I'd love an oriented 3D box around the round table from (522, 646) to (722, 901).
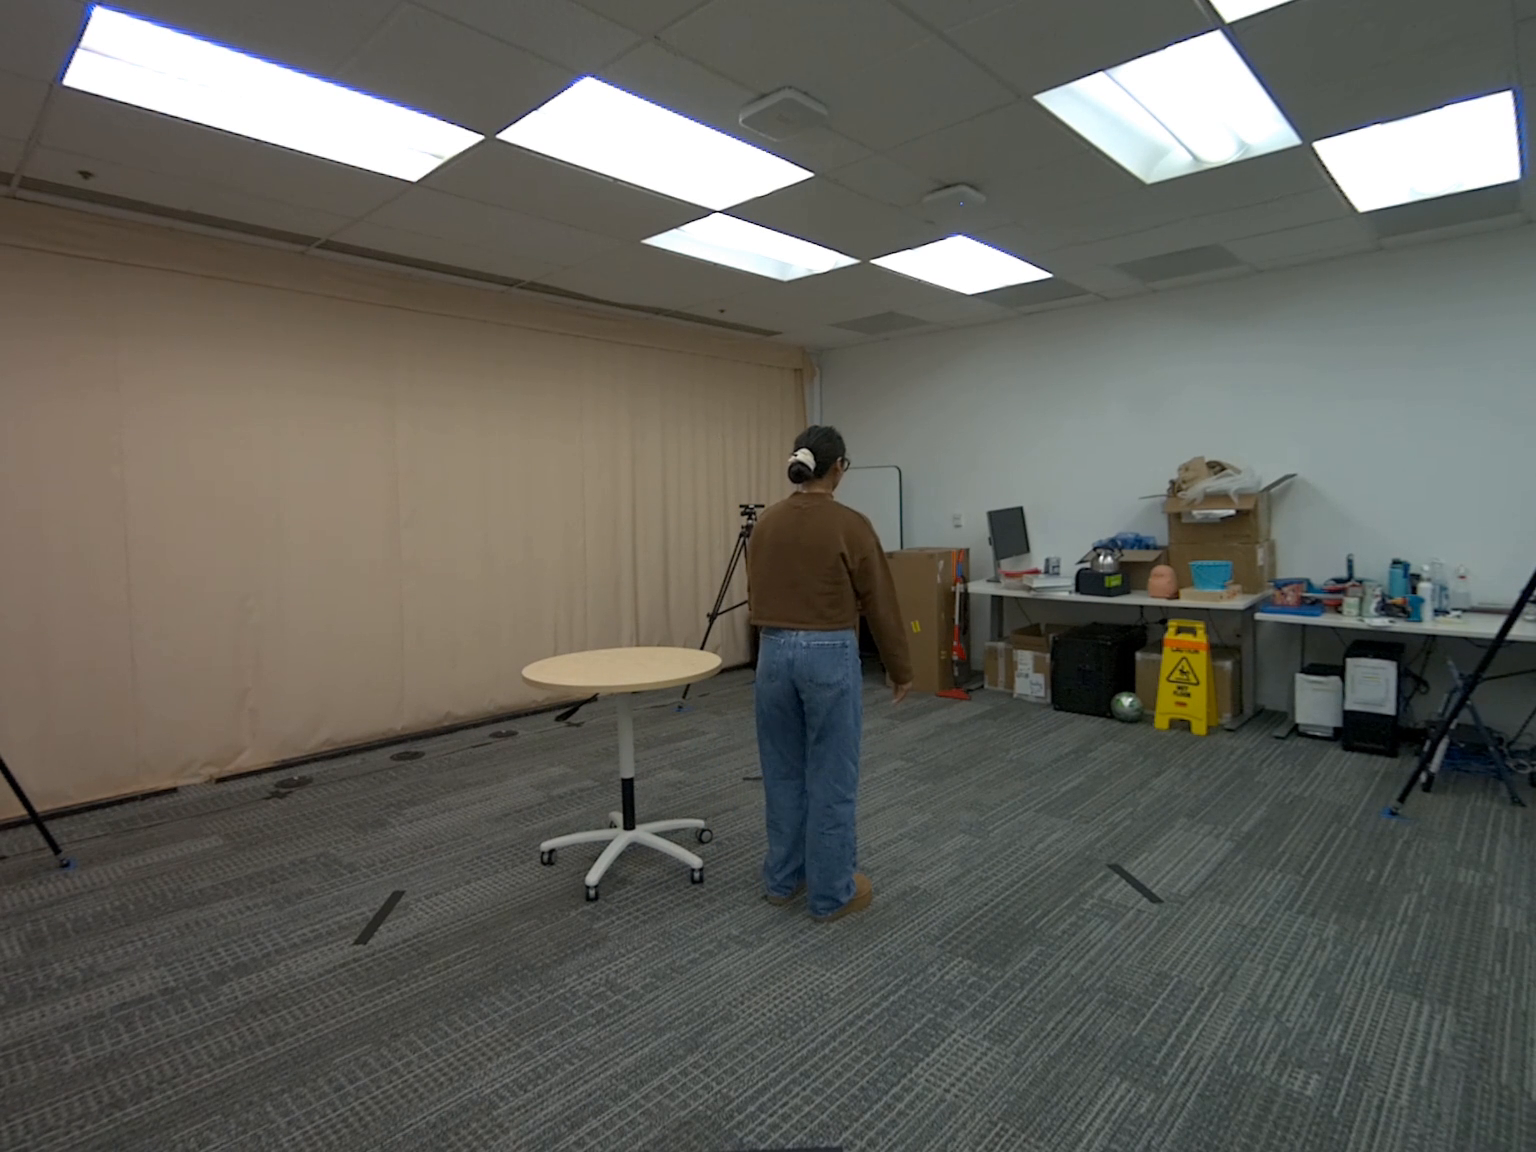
[{"bbox_3d":[-0.528,0.731,3.282,0.784,0.784,0.788,-2,4,-2],"label":"round table"}]
